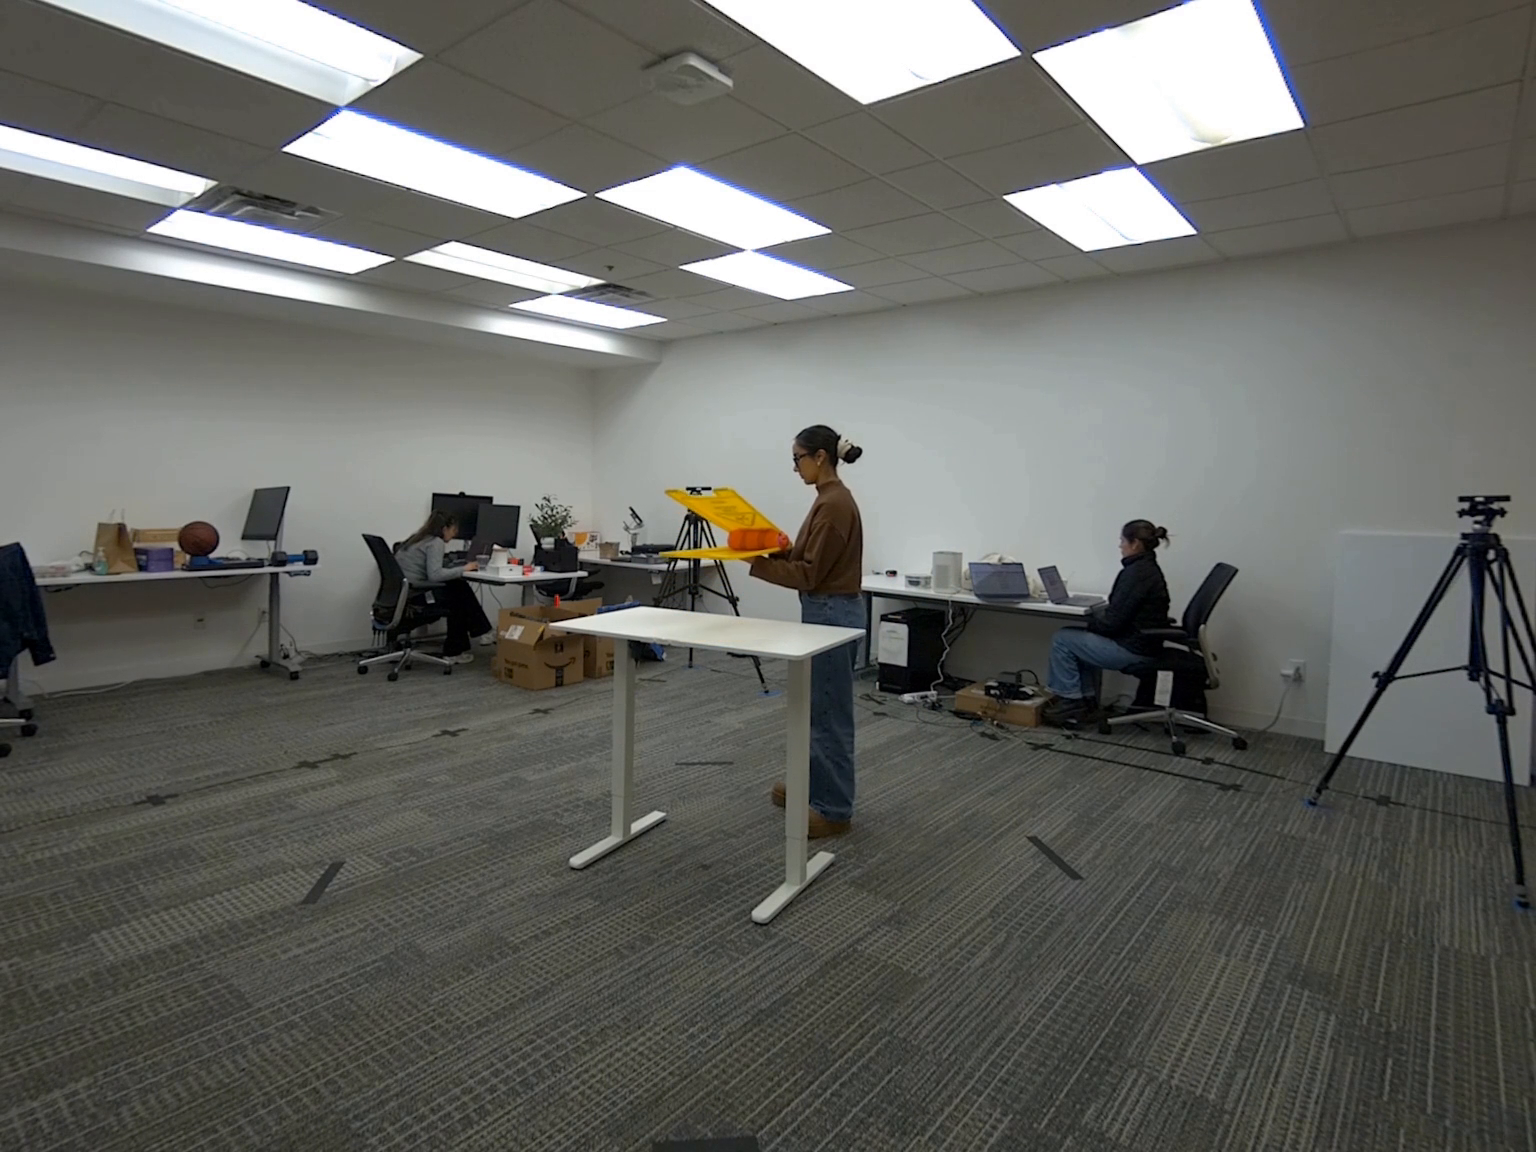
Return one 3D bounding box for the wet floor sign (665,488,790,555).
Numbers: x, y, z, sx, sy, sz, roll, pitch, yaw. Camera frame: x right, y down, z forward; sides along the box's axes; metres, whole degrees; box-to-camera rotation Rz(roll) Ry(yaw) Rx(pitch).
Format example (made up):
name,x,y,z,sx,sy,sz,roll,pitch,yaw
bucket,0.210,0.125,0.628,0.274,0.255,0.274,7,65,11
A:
name,x,y,z,sx,sy,sz,roll,pitch,yaw
wet floor sign,-0.156,-0.158,3.286,0.289,0.291,0.627,1,-3,25
